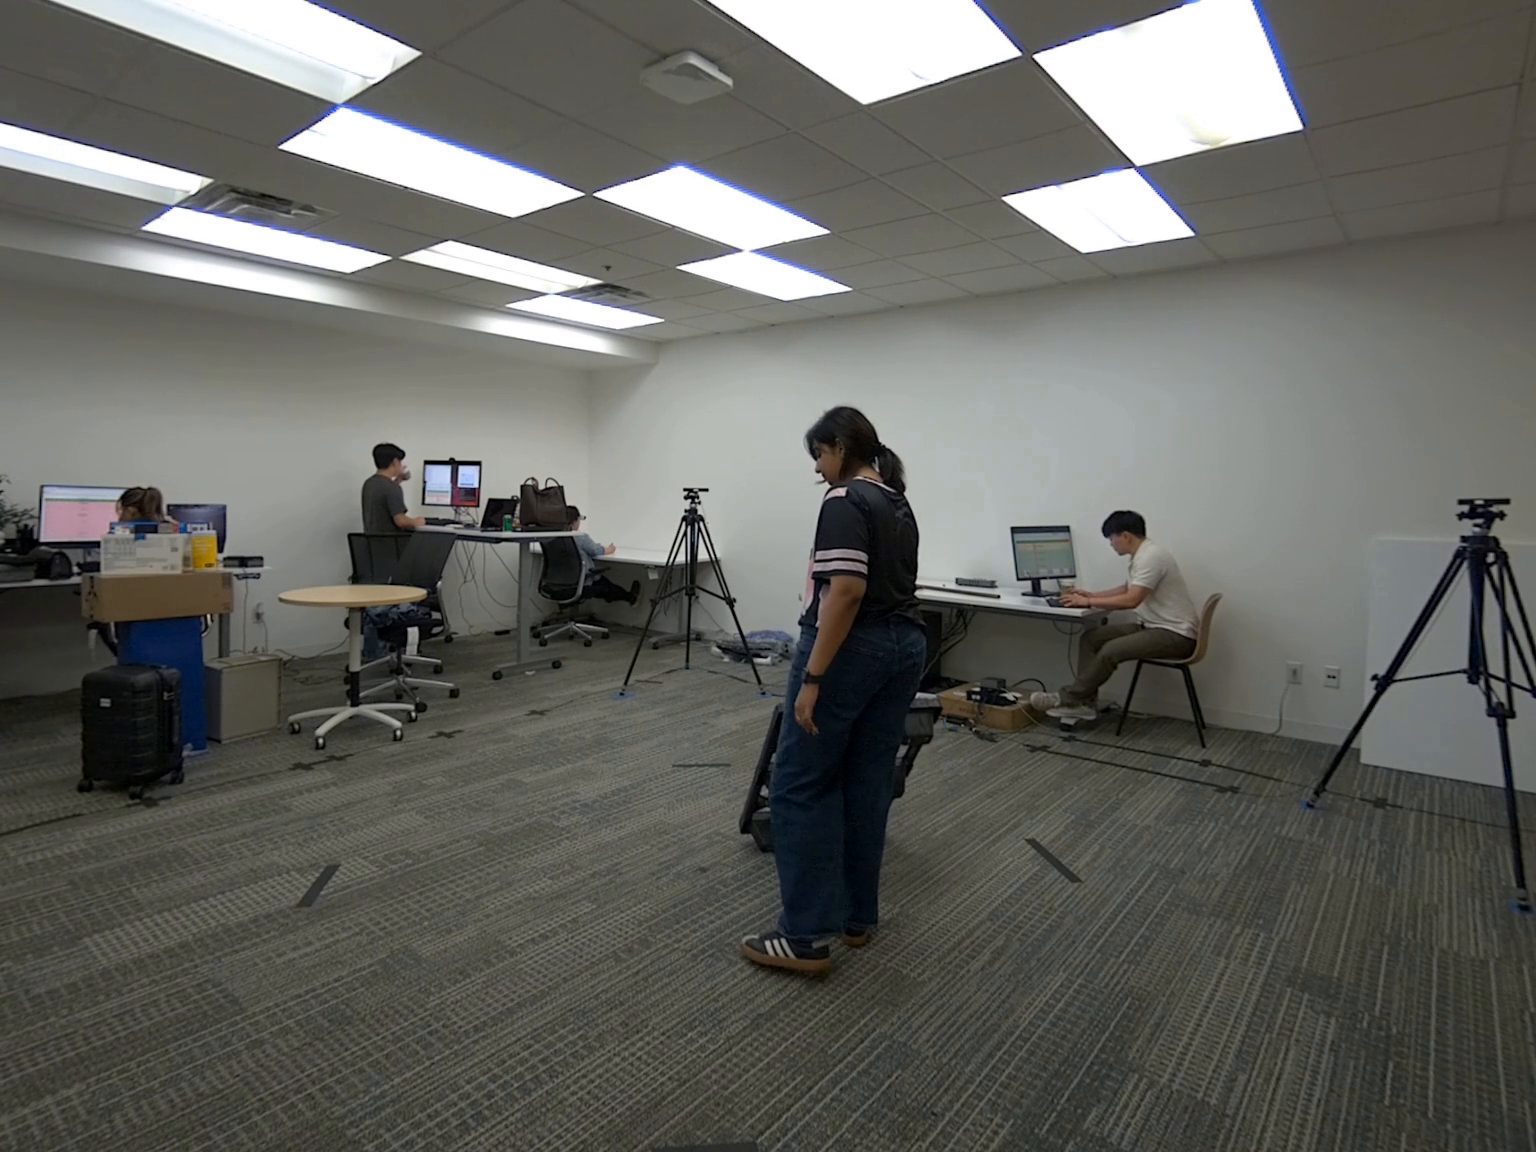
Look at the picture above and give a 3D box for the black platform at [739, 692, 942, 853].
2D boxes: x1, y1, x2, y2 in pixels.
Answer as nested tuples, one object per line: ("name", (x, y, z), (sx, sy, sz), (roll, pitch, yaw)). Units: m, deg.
("black platform", (0.250, 0.751, 3.116), (0.597, 0.788, 0.148), (1, 42, -13))
